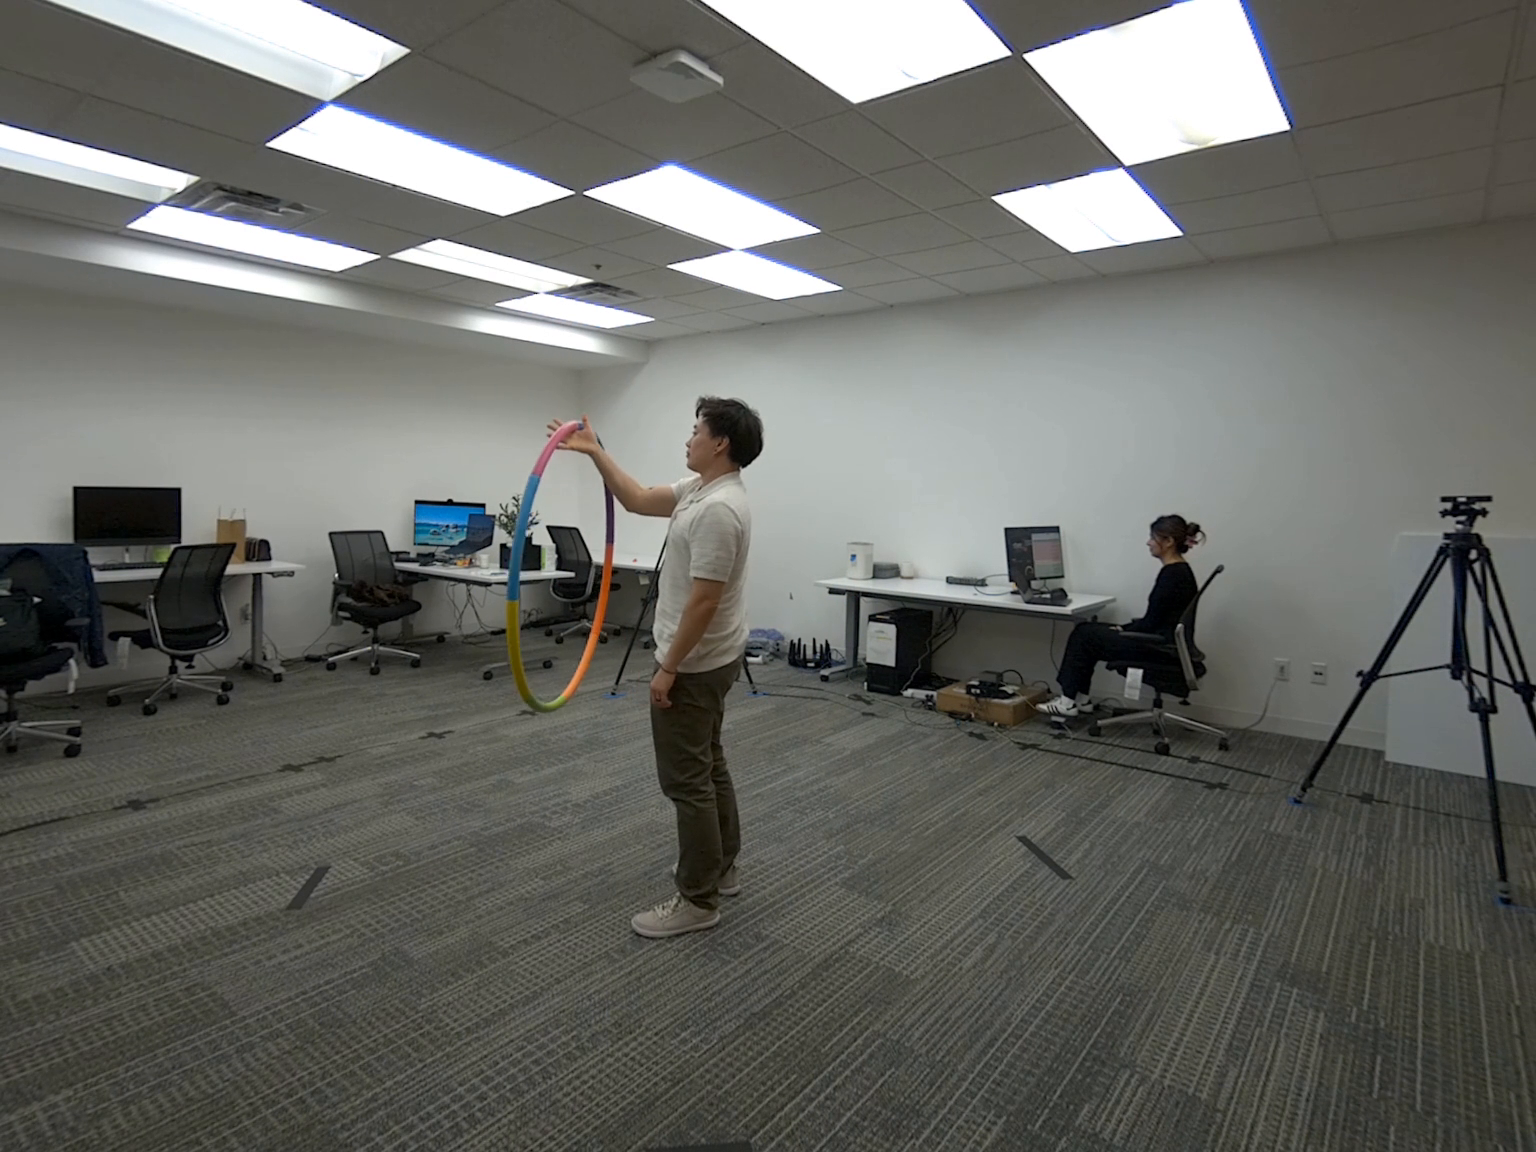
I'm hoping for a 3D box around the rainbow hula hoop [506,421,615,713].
[{"bbox_3d":[-0.691,-0.032,2.901,0.036,0.975,0.973,4,4,6],"label":"rainbow hula hoop"}]
